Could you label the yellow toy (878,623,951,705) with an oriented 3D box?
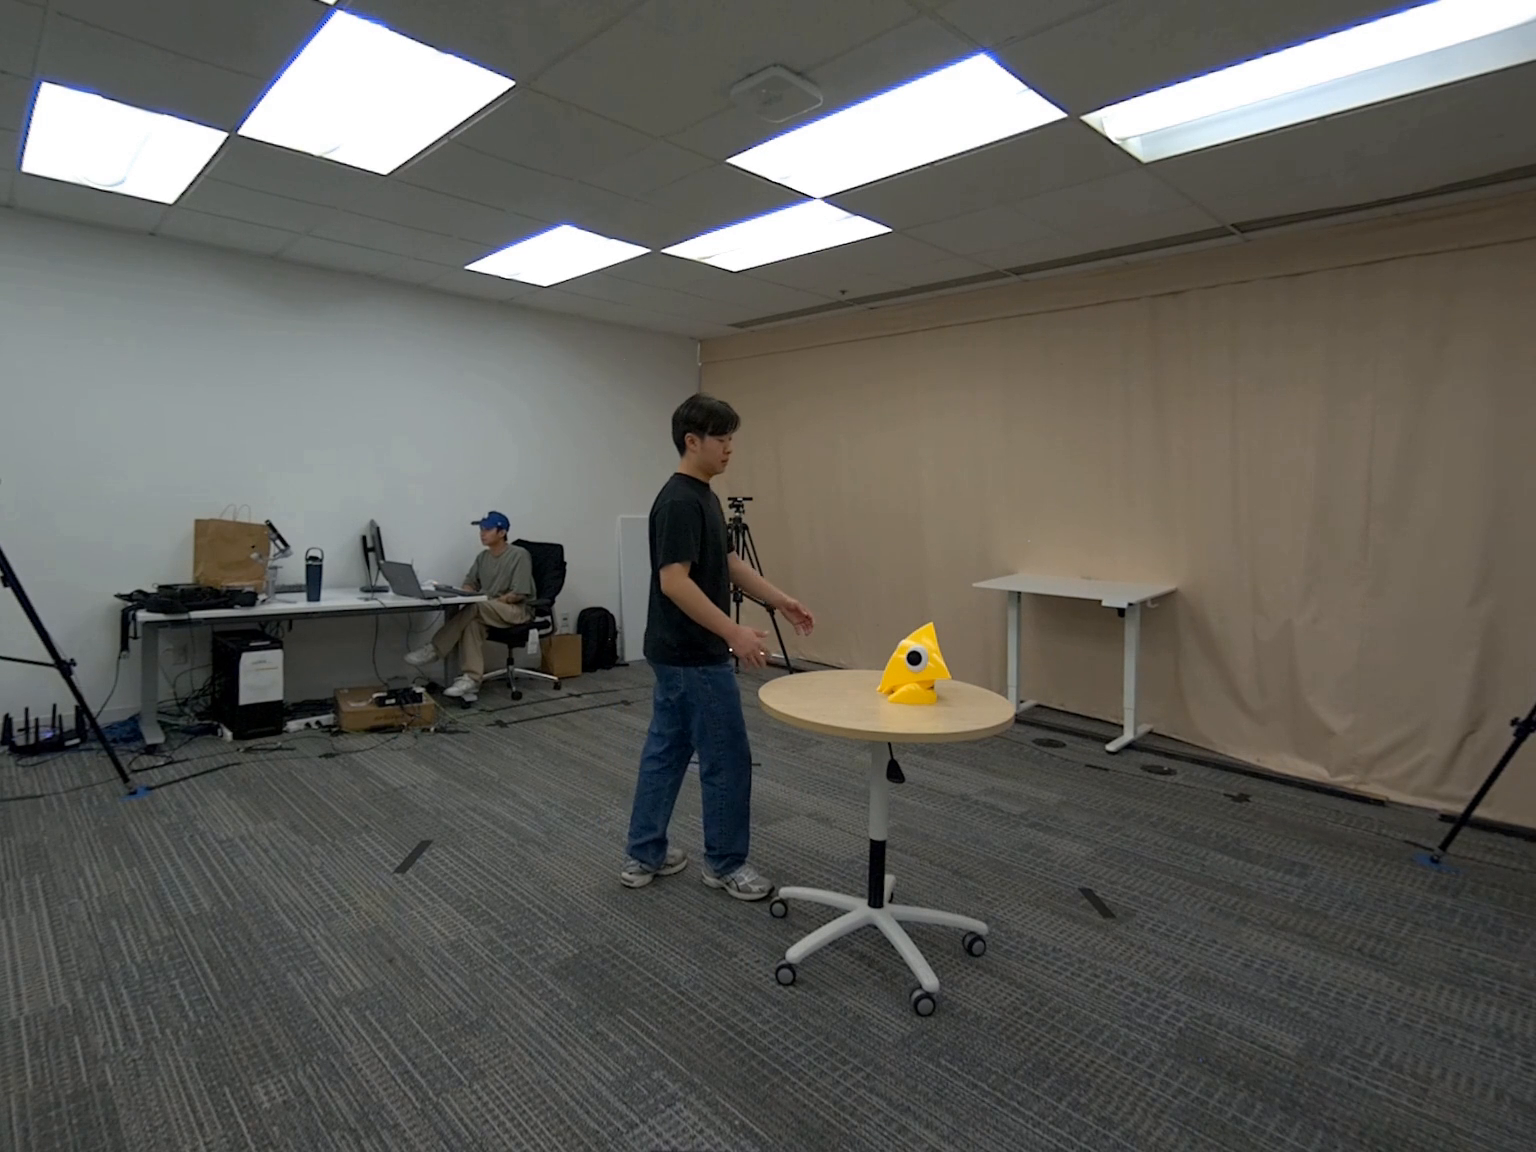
[{"bbox_3d":[0.437,0.257,2.590,0.192,0.230,0.207,2,4,-8],"label":"yellow toy"}]
